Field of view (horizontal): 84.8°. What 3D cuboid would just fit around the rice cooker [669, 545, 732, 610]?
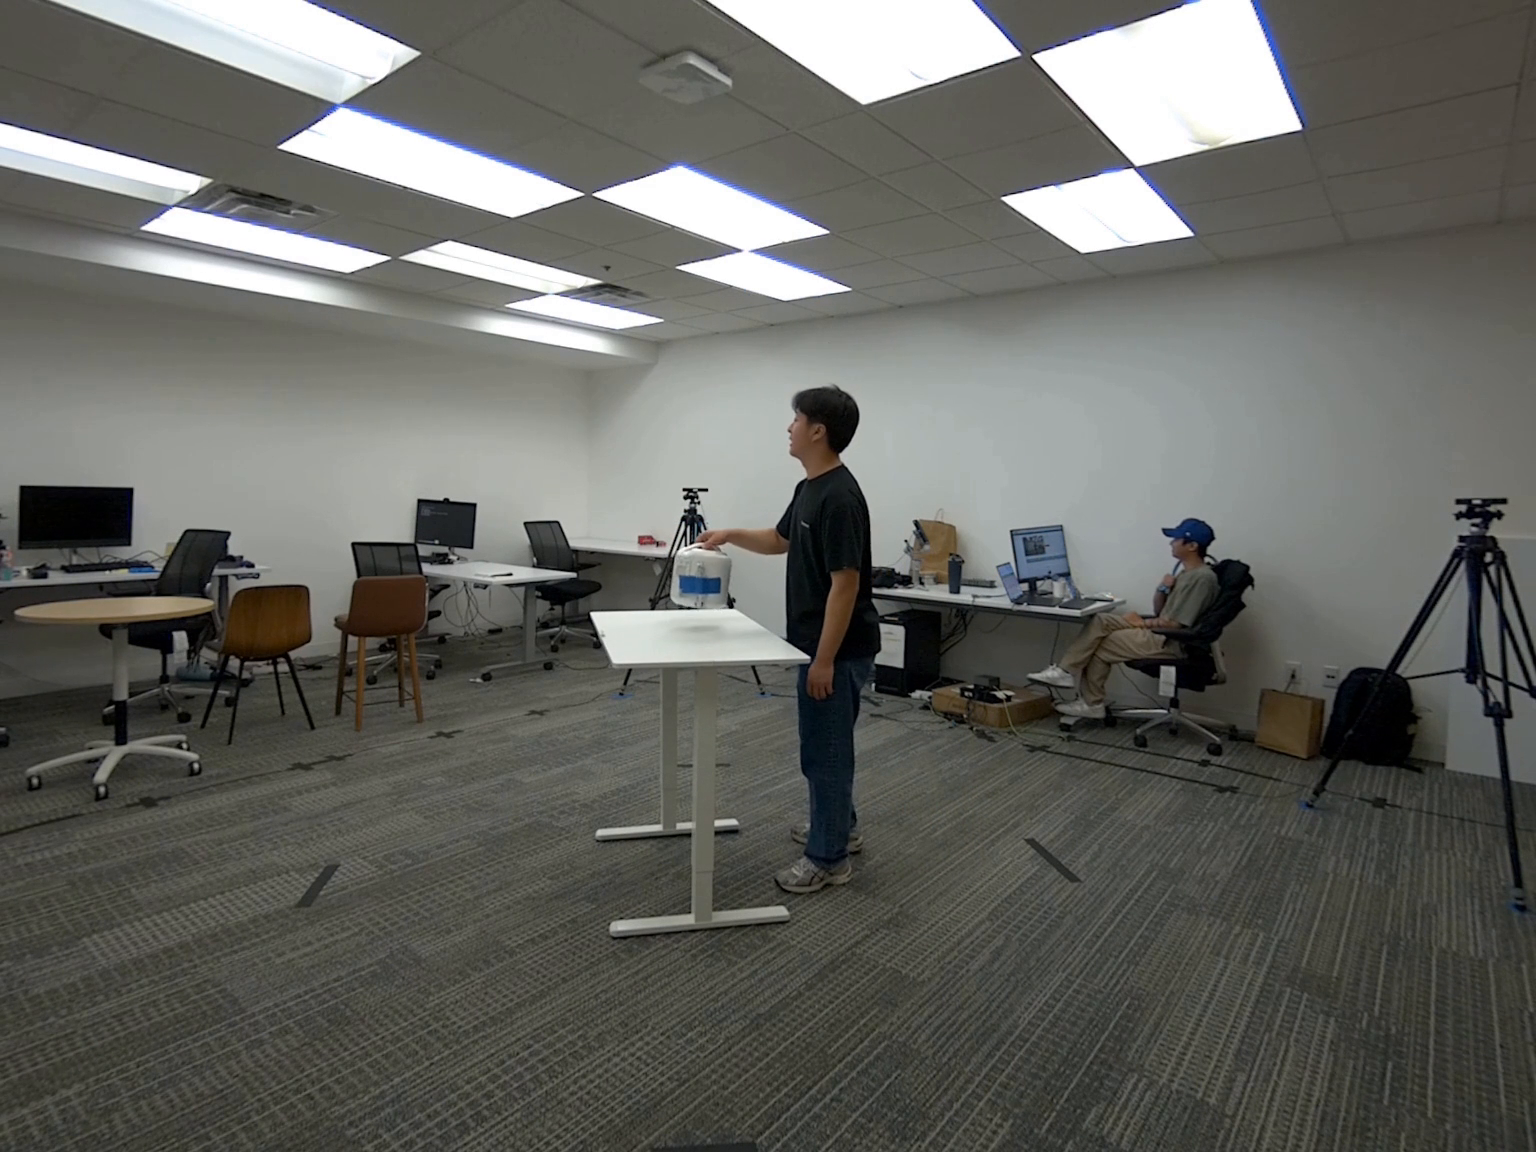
[{"bbox_3d":[-0.248,-0.004,3.097,0.225,0.233,0.213,9,1,42],"label":"rice cooker"}]
